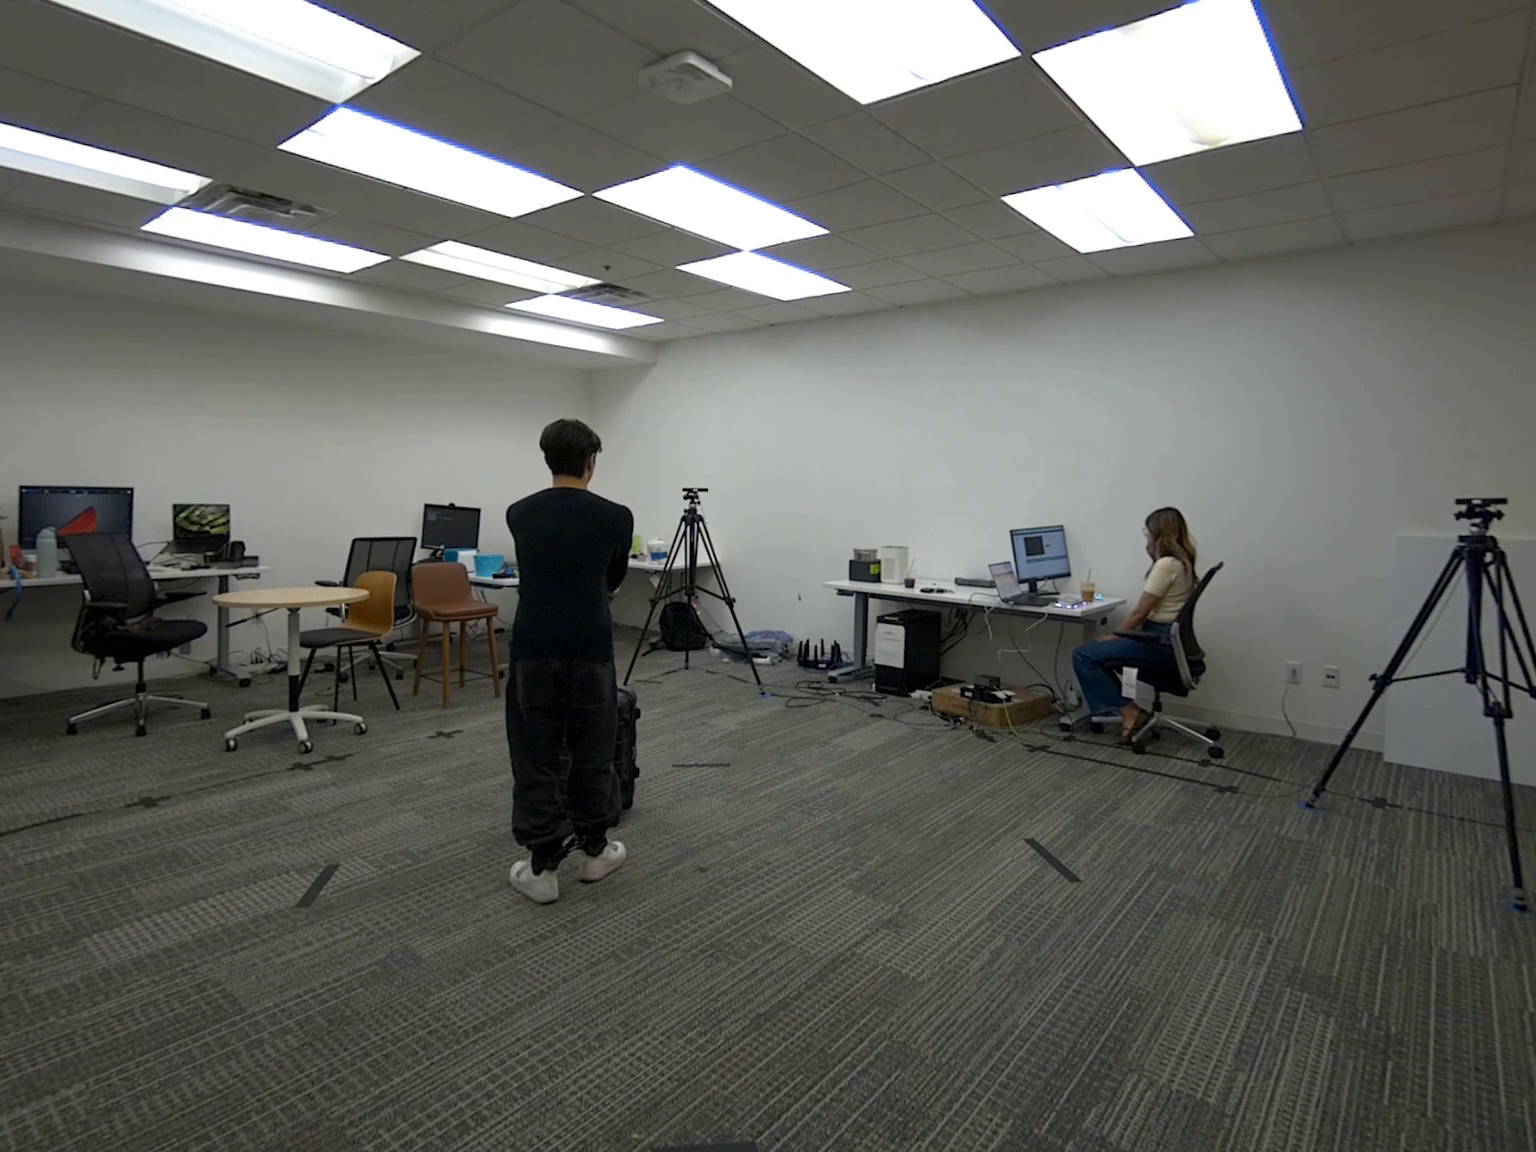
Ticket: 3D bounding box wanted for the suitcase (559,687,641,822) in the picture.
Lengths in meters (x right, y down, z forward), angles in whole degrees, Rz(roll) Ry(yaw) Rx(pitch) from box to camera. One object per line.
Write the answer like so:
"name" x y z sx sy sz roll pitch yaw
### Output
"suitcase" -0.753 0.532 3.631 0.388 0.979 0.254 3 -1 9
